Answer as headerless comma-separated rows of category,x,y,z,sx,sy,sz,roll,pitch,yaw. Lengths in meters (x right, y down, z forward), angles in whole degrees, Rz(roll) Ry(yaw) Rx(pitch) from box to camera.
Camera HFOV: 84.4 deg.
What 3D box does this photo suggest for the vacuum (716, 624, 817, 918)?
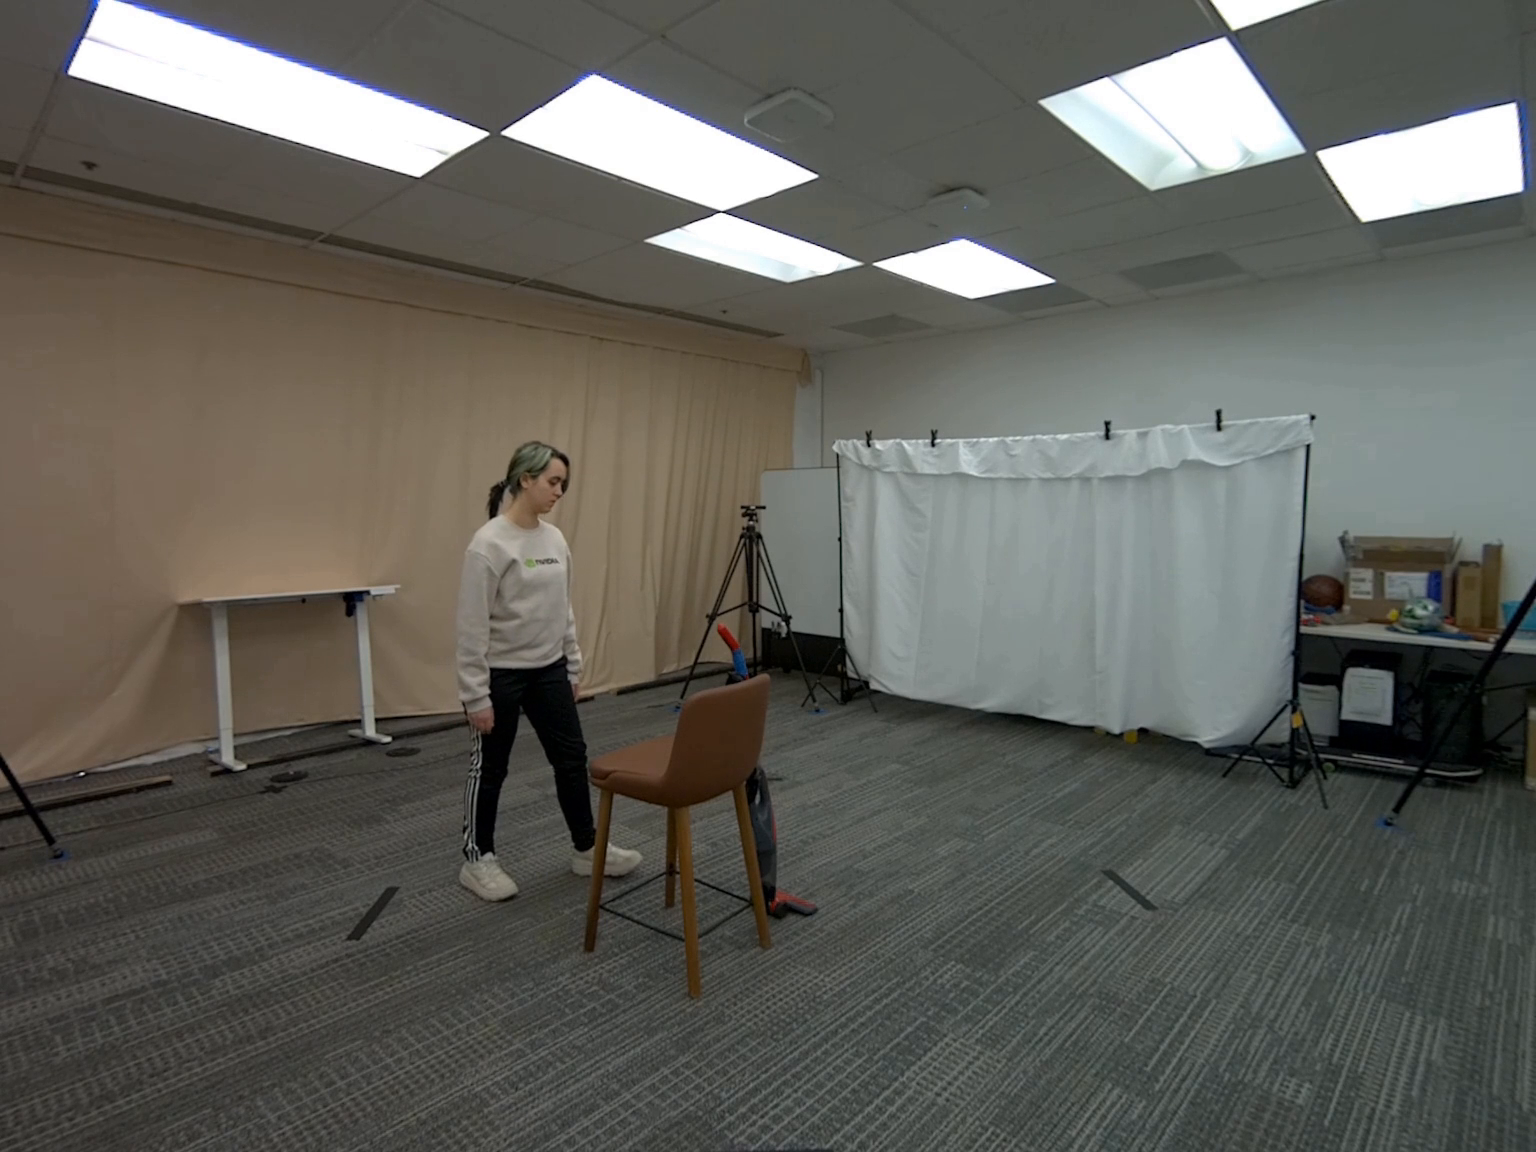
vacuum,-0.051,0.652,2.790,0.141,1.038,0.261,-22,17,-39
